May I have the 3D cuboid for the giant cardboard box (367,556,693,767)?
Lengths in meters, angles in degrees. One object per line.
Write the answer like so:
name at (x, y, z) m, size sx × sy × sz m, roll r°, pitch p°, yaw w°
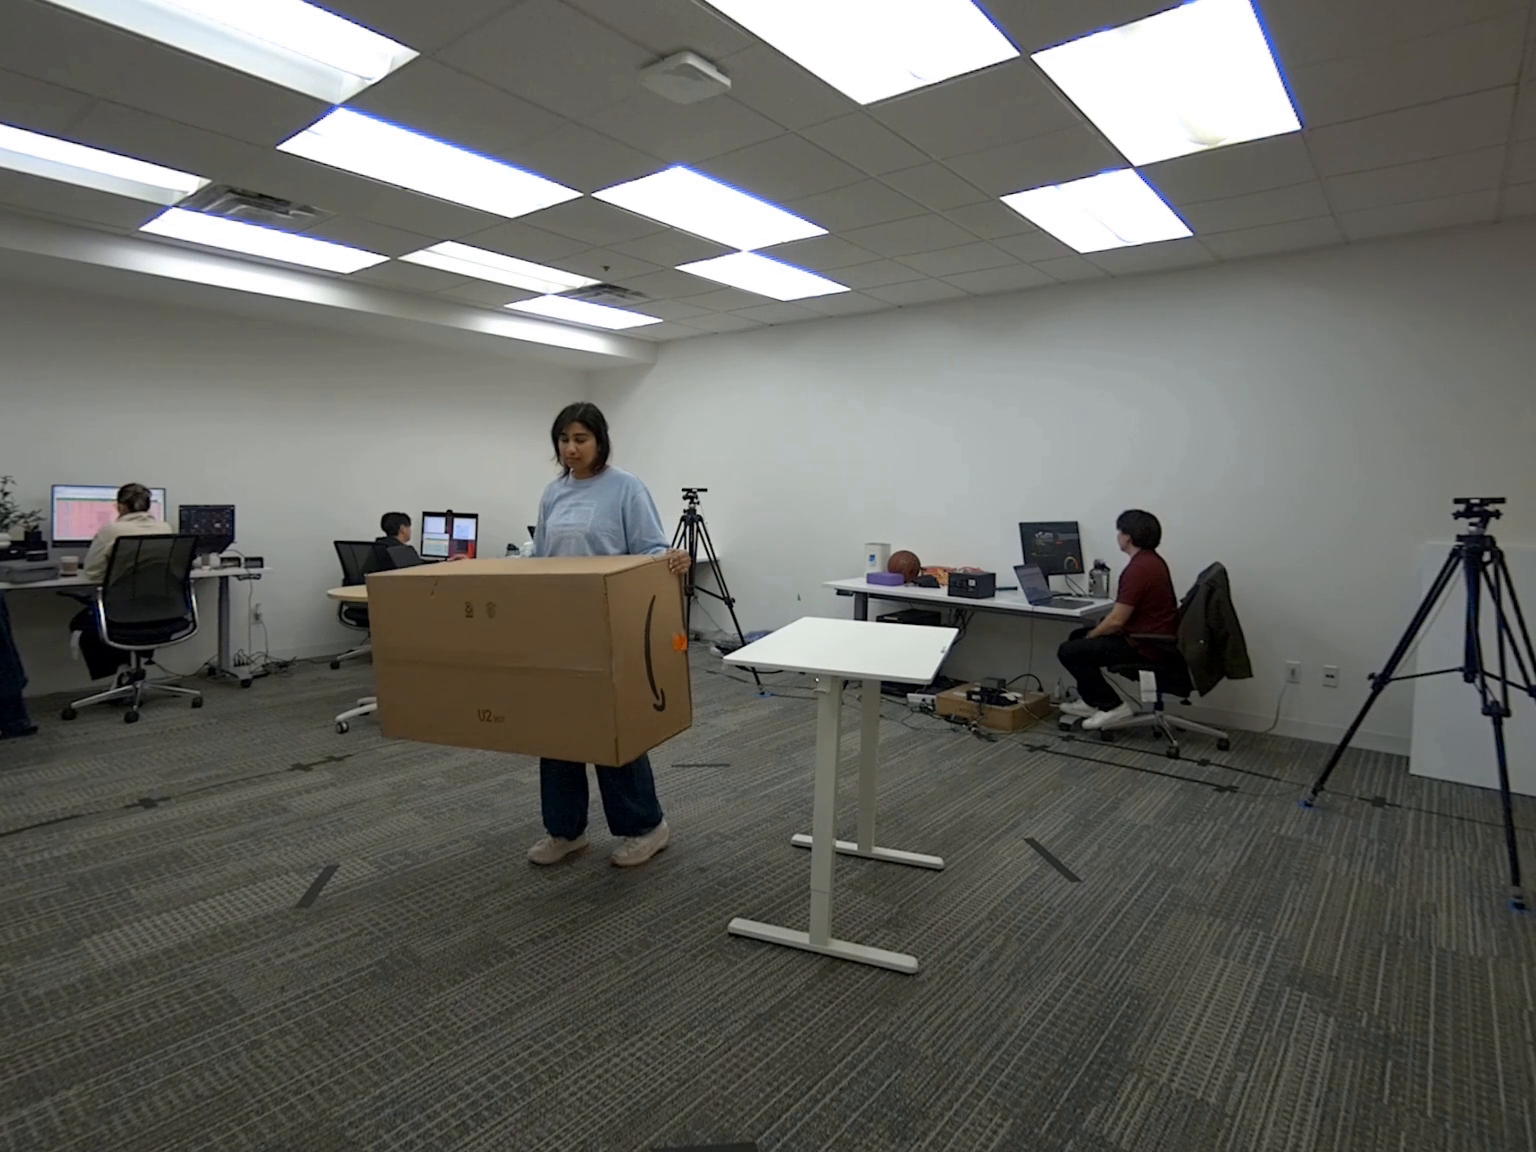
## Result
giant cardboard box at (-0.827, 0.246, 2.874) m, size 1.052 × 0.575 × 0.417 m, roll -1°, pitch 5°, yaw 28°
